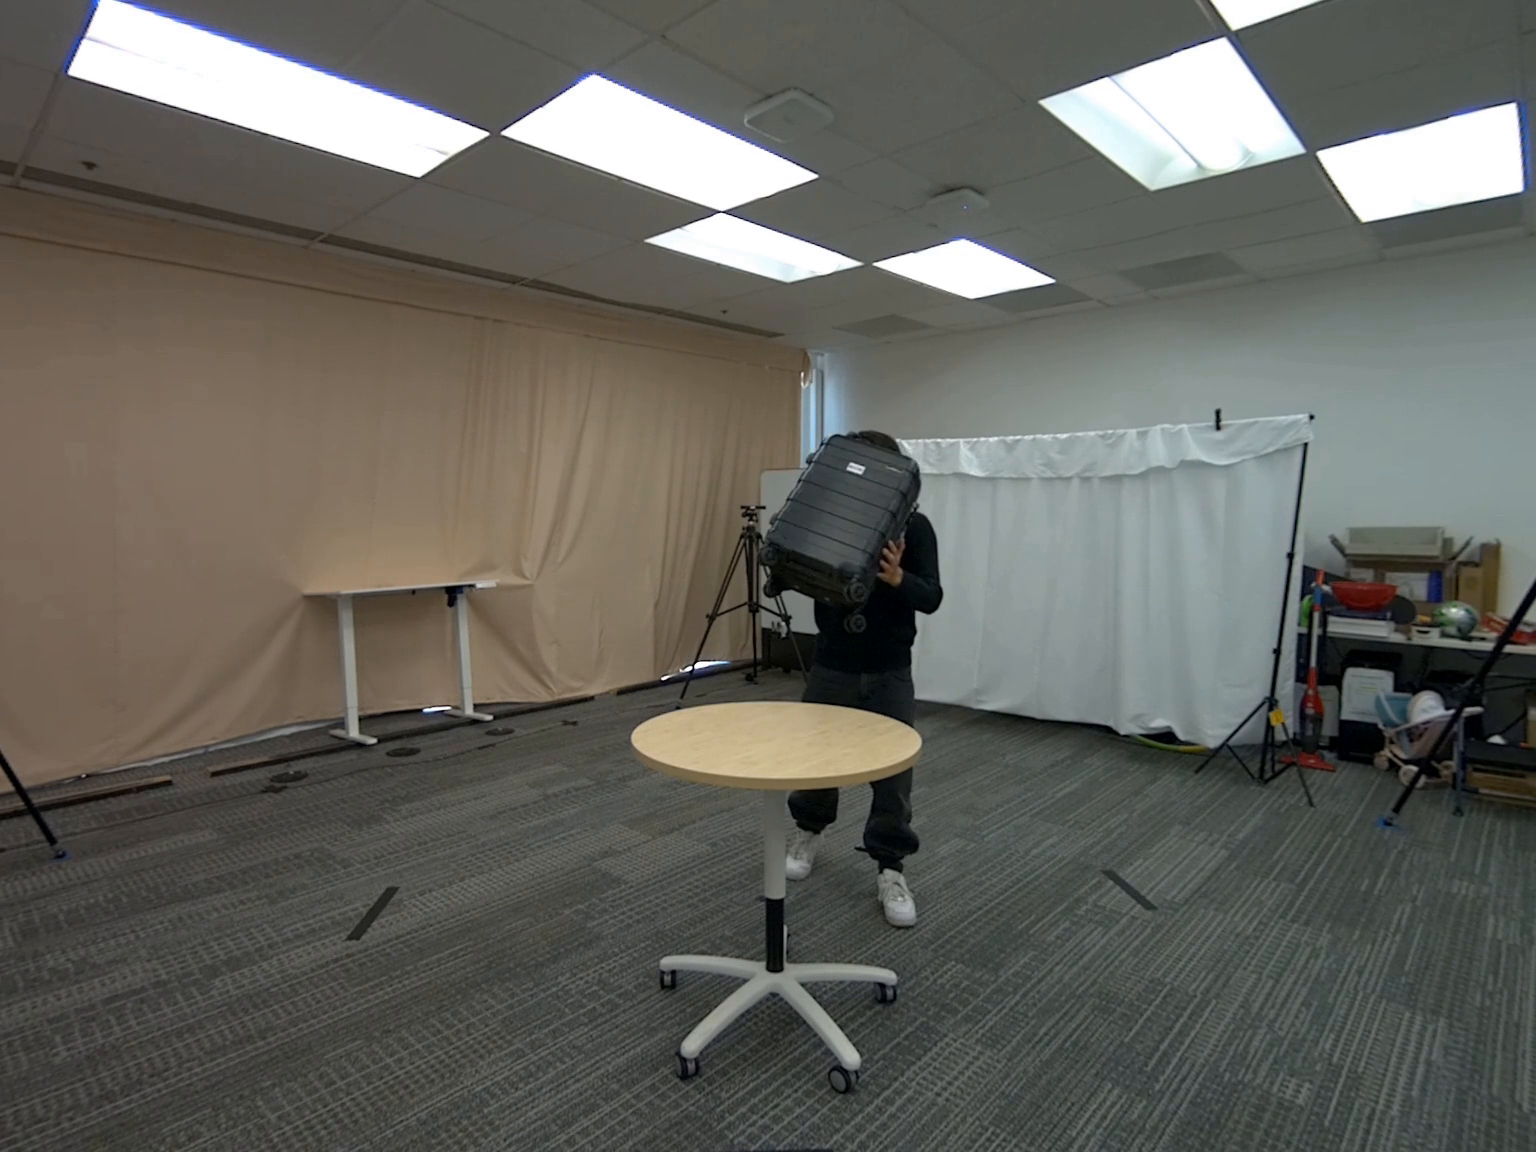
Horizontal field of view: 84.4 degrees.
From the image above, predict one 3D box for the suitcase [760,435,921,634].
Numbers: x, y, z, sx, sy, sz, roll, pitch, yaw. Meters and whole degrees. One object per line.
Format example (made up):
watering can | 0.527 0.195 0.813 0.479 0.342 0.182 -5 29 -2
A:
suitcase | 0.238 -0.165 2.685 0.385 0.548 0.242 23 -24 21
